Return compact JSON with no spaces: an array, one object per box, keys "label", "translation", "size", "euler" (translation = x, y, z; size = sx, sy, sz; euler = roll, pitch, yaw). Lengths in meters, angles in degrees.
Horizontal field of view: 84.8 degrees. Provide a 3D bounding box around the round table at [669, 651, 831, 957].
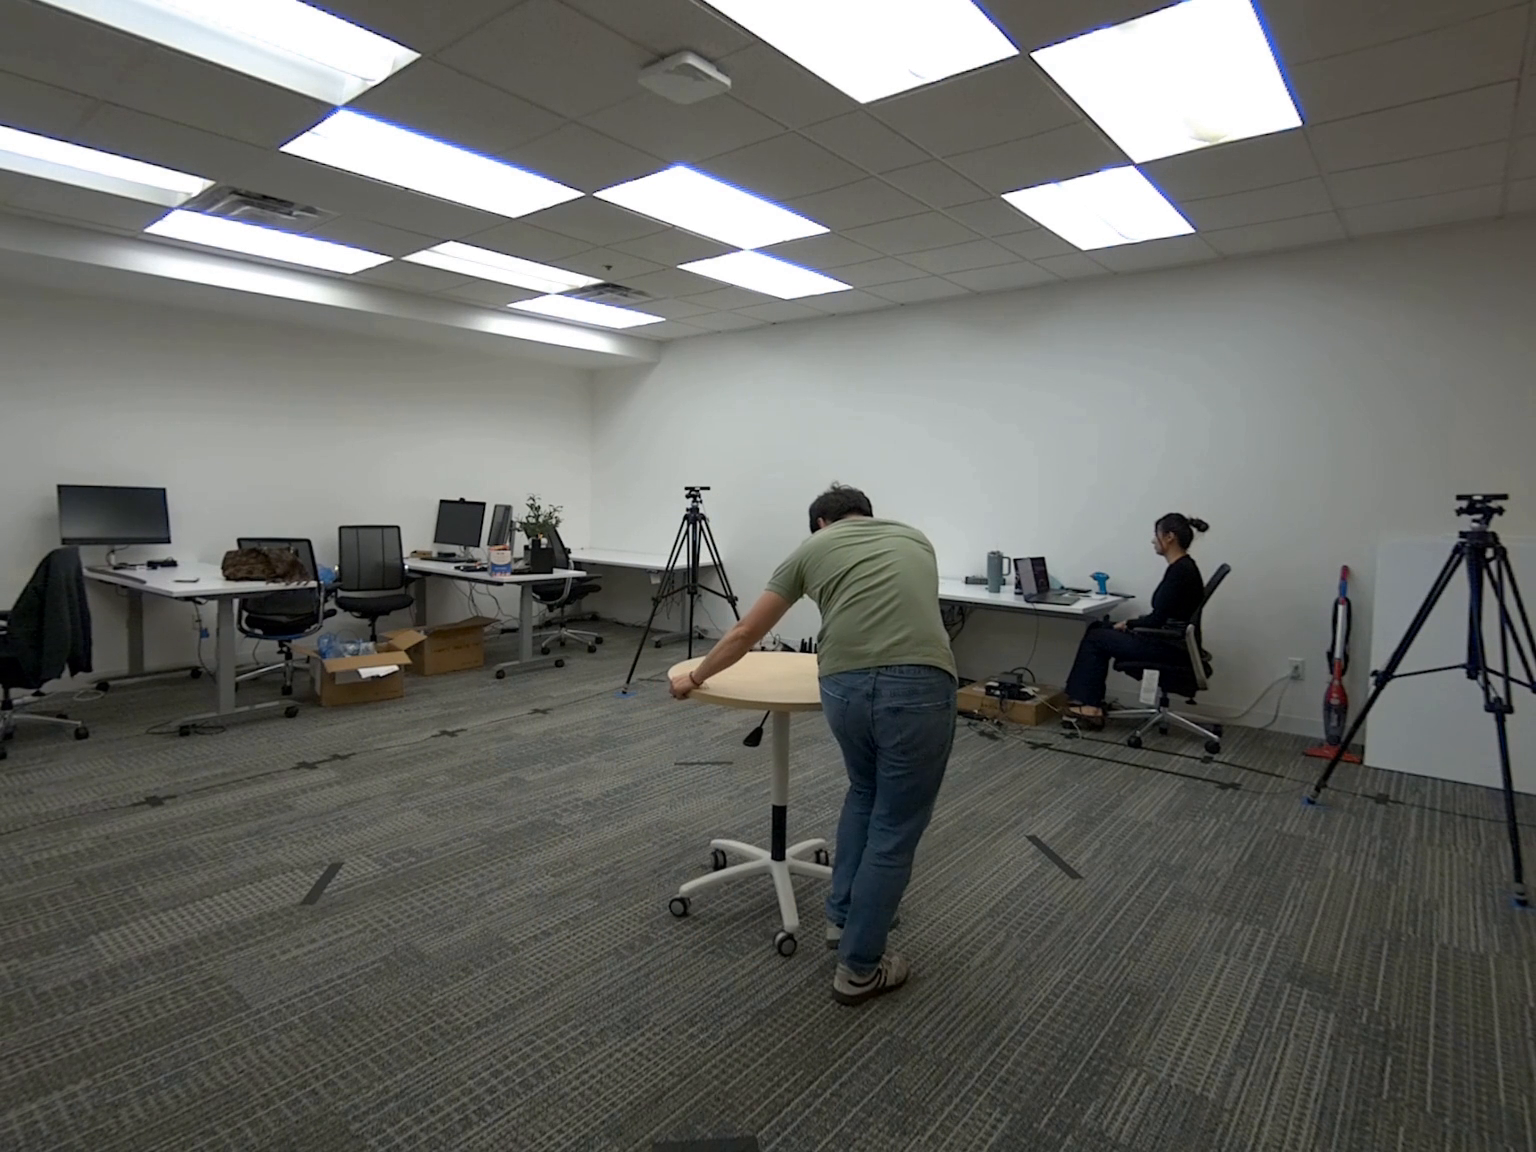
[{"label":"round table","translation":[0.030,0.712,2.863],"size":[0.763,0.791,0.768],"euler":[1,4,-2]}]
